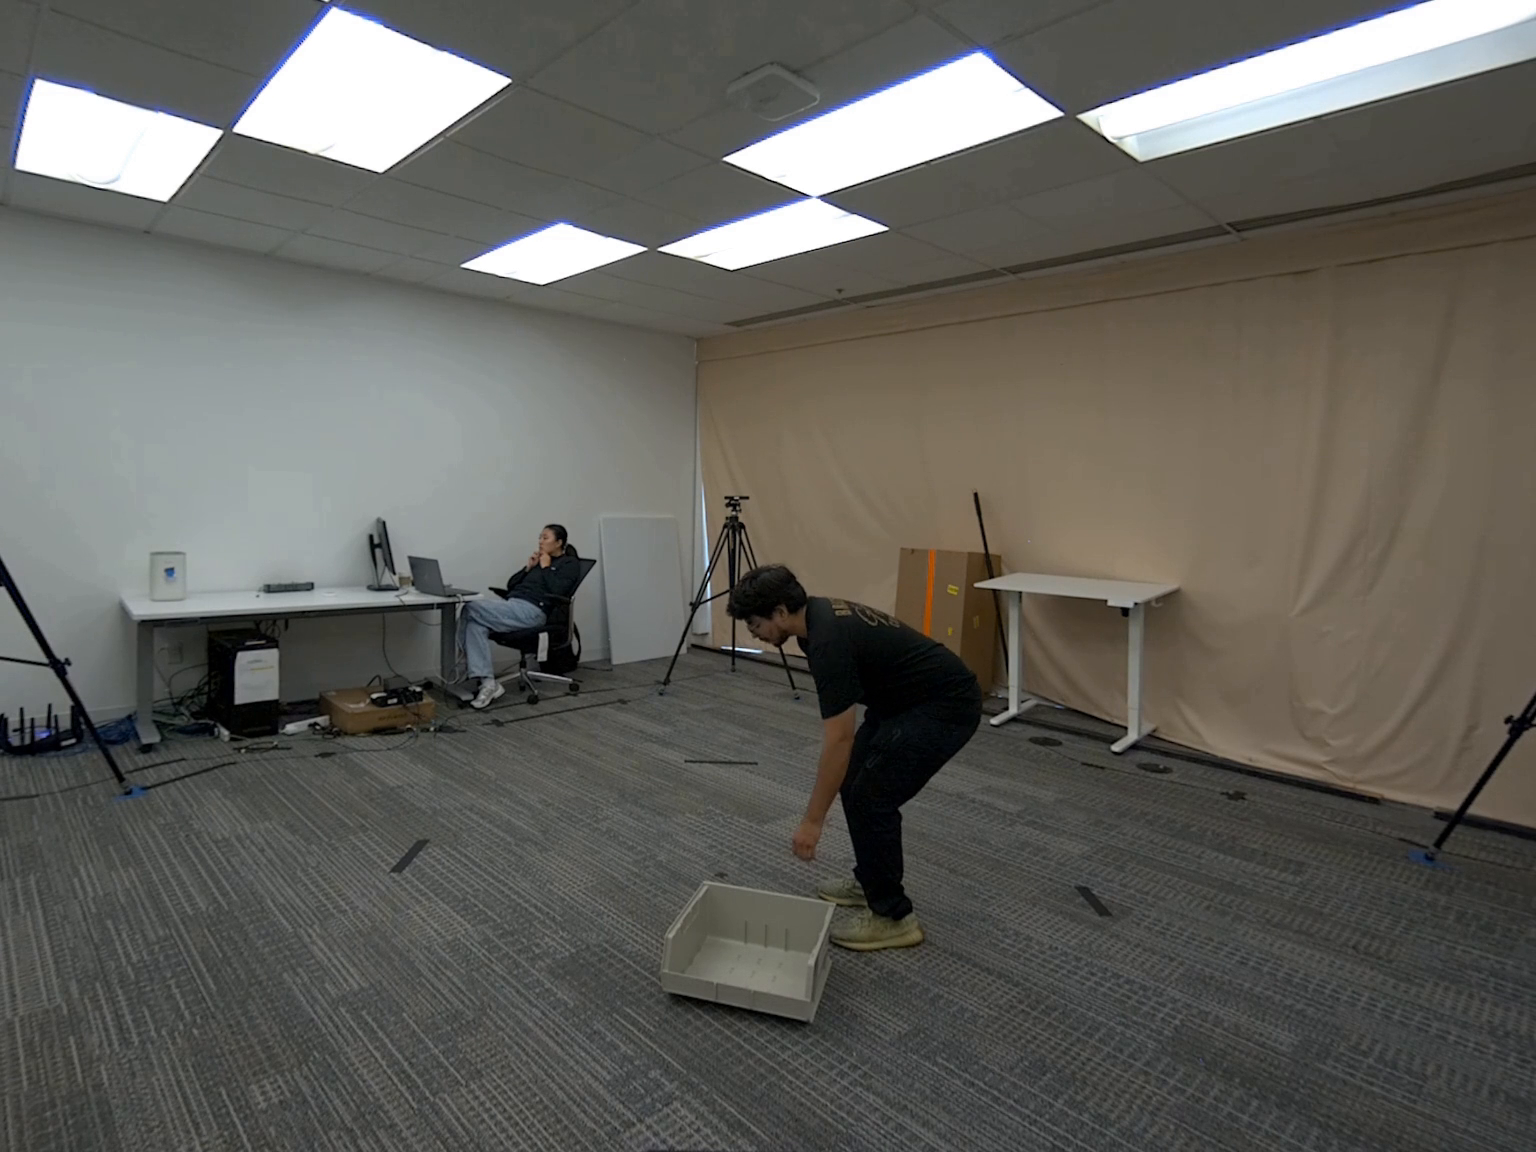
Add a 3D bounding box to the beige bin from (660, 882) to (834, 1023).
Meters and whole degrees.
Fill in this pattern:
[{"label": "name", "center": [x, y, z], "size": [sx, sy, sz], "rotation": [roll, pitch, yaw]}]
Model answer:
[{"label": "beige bin", "center": [-0.048, 1.083, 2.414], "size": [0.428, 0.188, 0.373], "rotation": [2, 4, 15]}]
